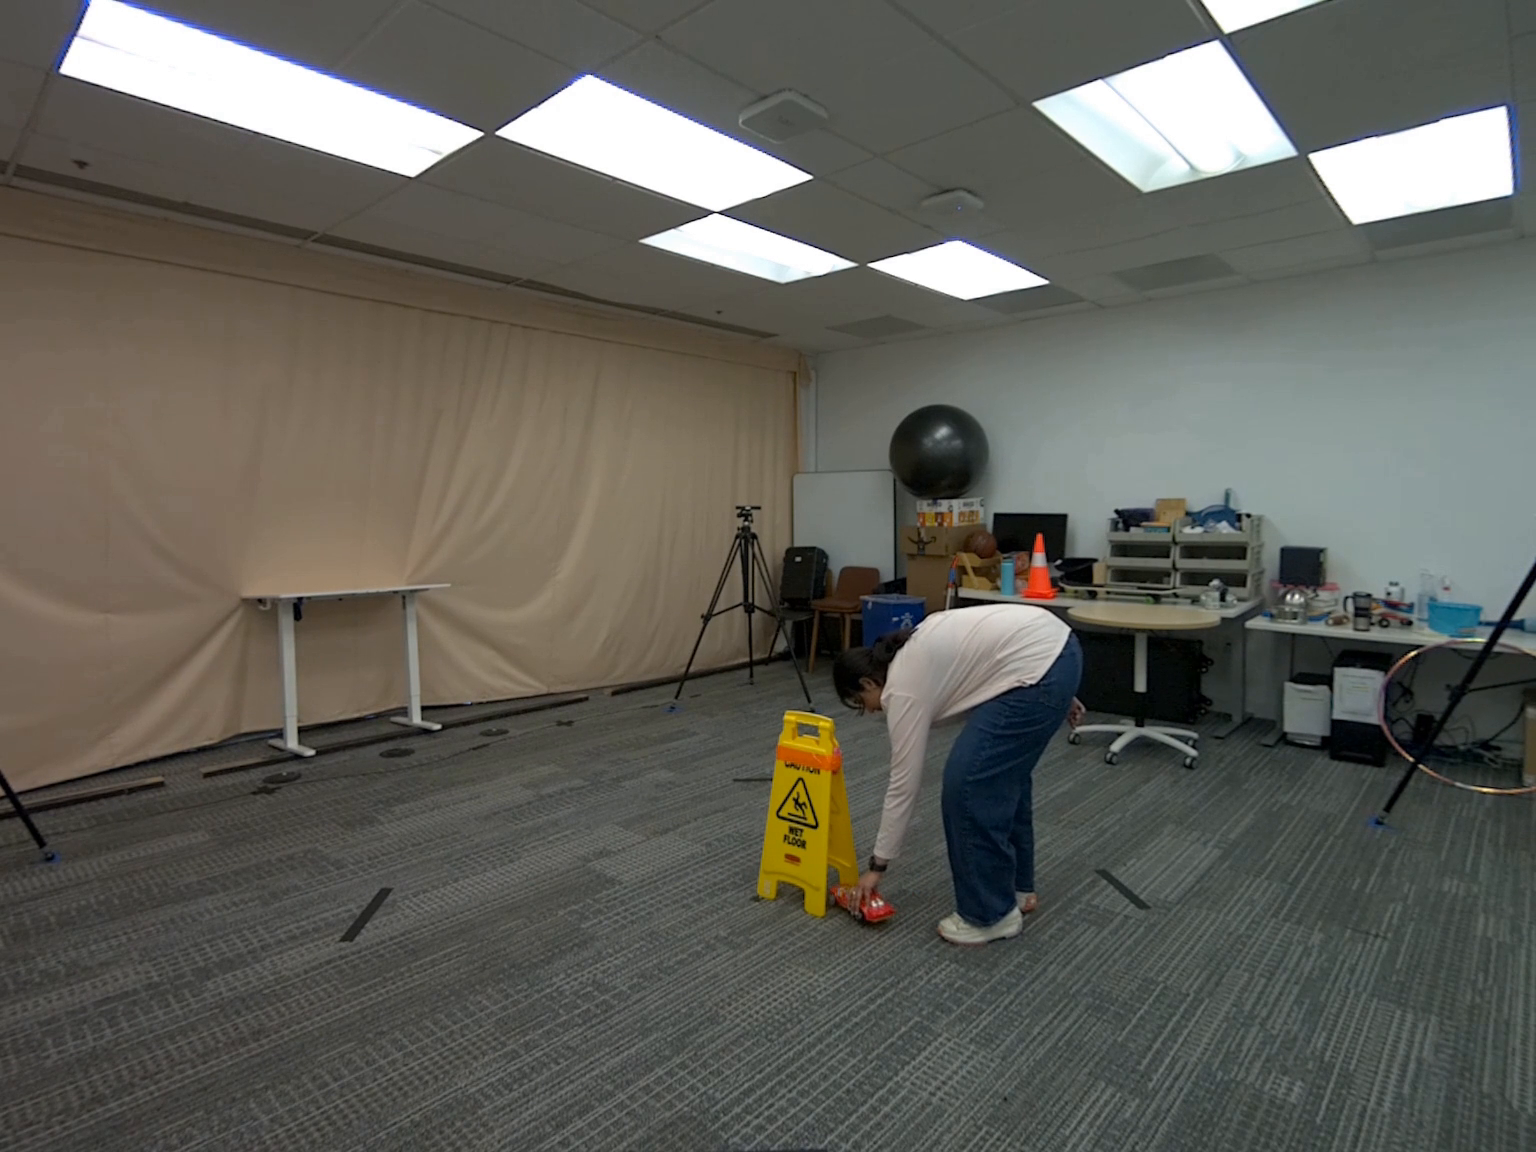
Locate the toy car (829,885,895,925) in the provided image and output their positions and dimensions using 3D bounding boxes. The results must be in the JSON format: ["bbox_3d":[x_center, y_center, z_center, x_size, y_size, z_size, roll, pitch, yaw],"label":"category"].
[{"bbox_3d":[0.329,1.116,2.854,0.126,0.084,0.260,-1,-9,-33],"label":"toy car"}]
